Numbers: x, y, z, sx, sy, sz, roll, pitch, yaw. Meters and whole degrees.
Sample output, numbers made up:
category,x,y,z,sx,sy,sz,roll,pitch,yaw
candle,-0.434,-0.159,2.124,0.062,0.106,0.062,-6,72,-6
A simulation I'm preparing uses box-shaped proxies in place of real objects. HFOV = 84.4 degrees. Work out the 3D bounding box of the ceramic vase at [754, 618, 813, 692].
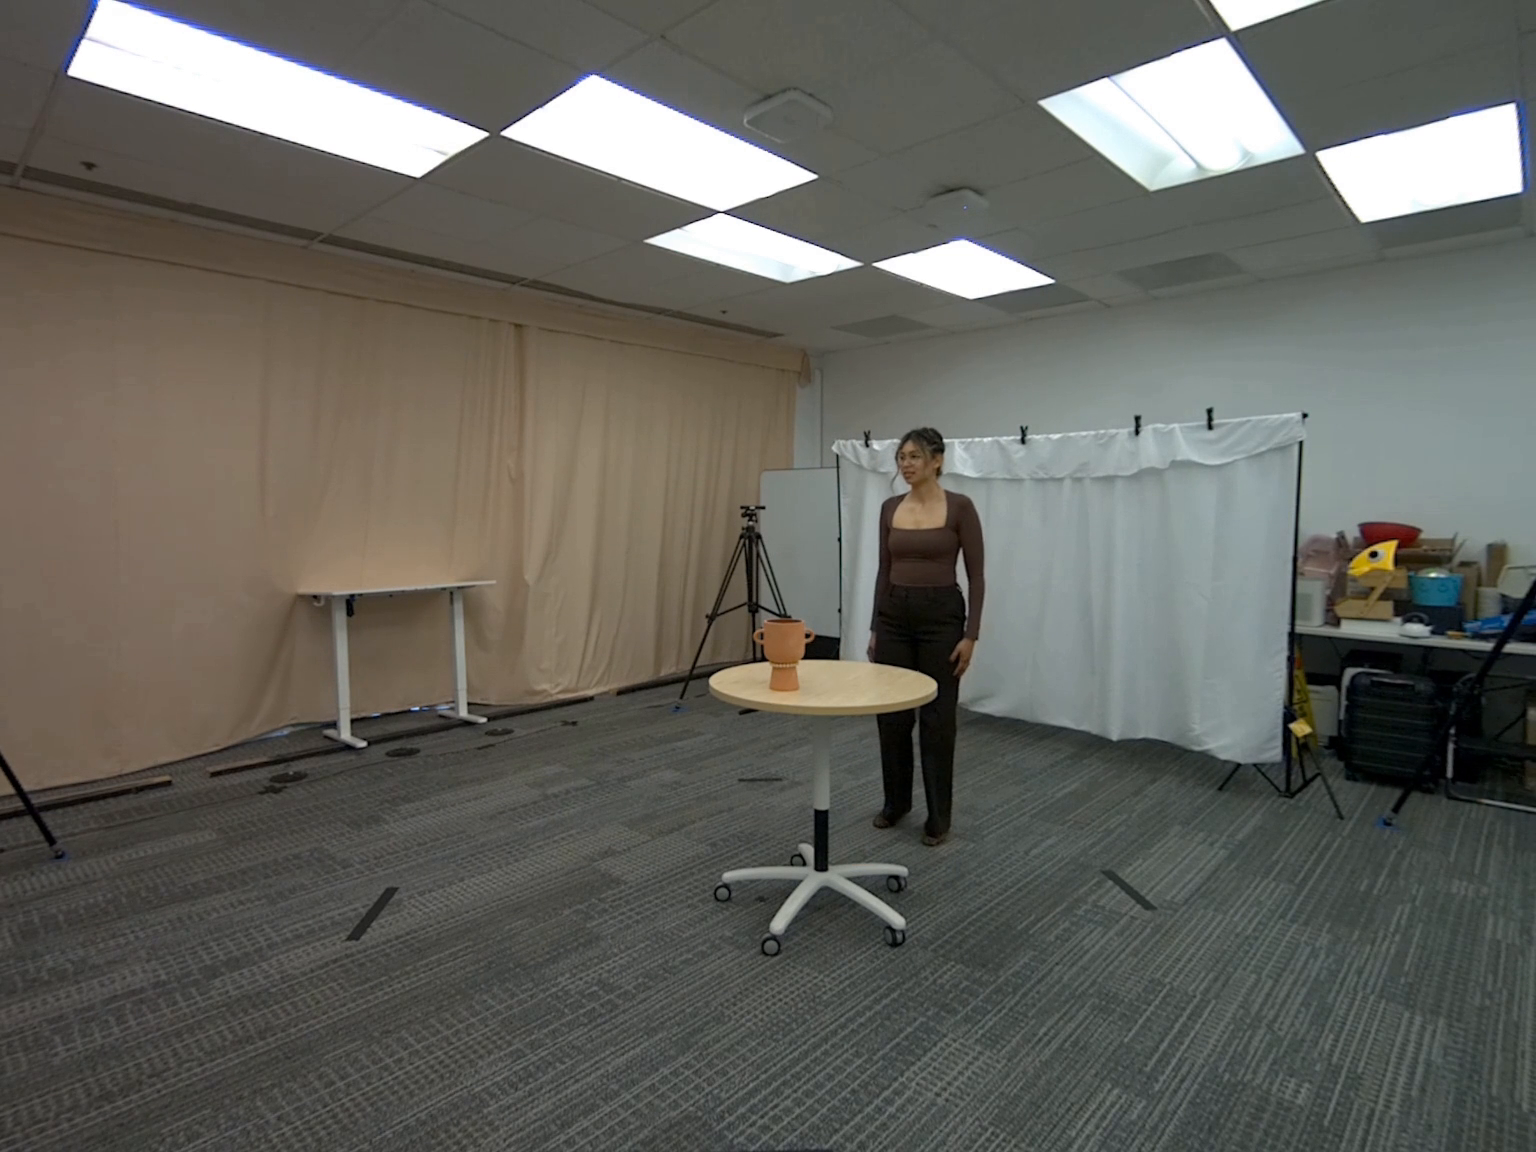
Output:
category,x,y,z,sx,sy,sz,roll,pitch,yaw
ceramic vase,0.056,0.258,2.736,0.164,0.219,0.131,1,3,34
